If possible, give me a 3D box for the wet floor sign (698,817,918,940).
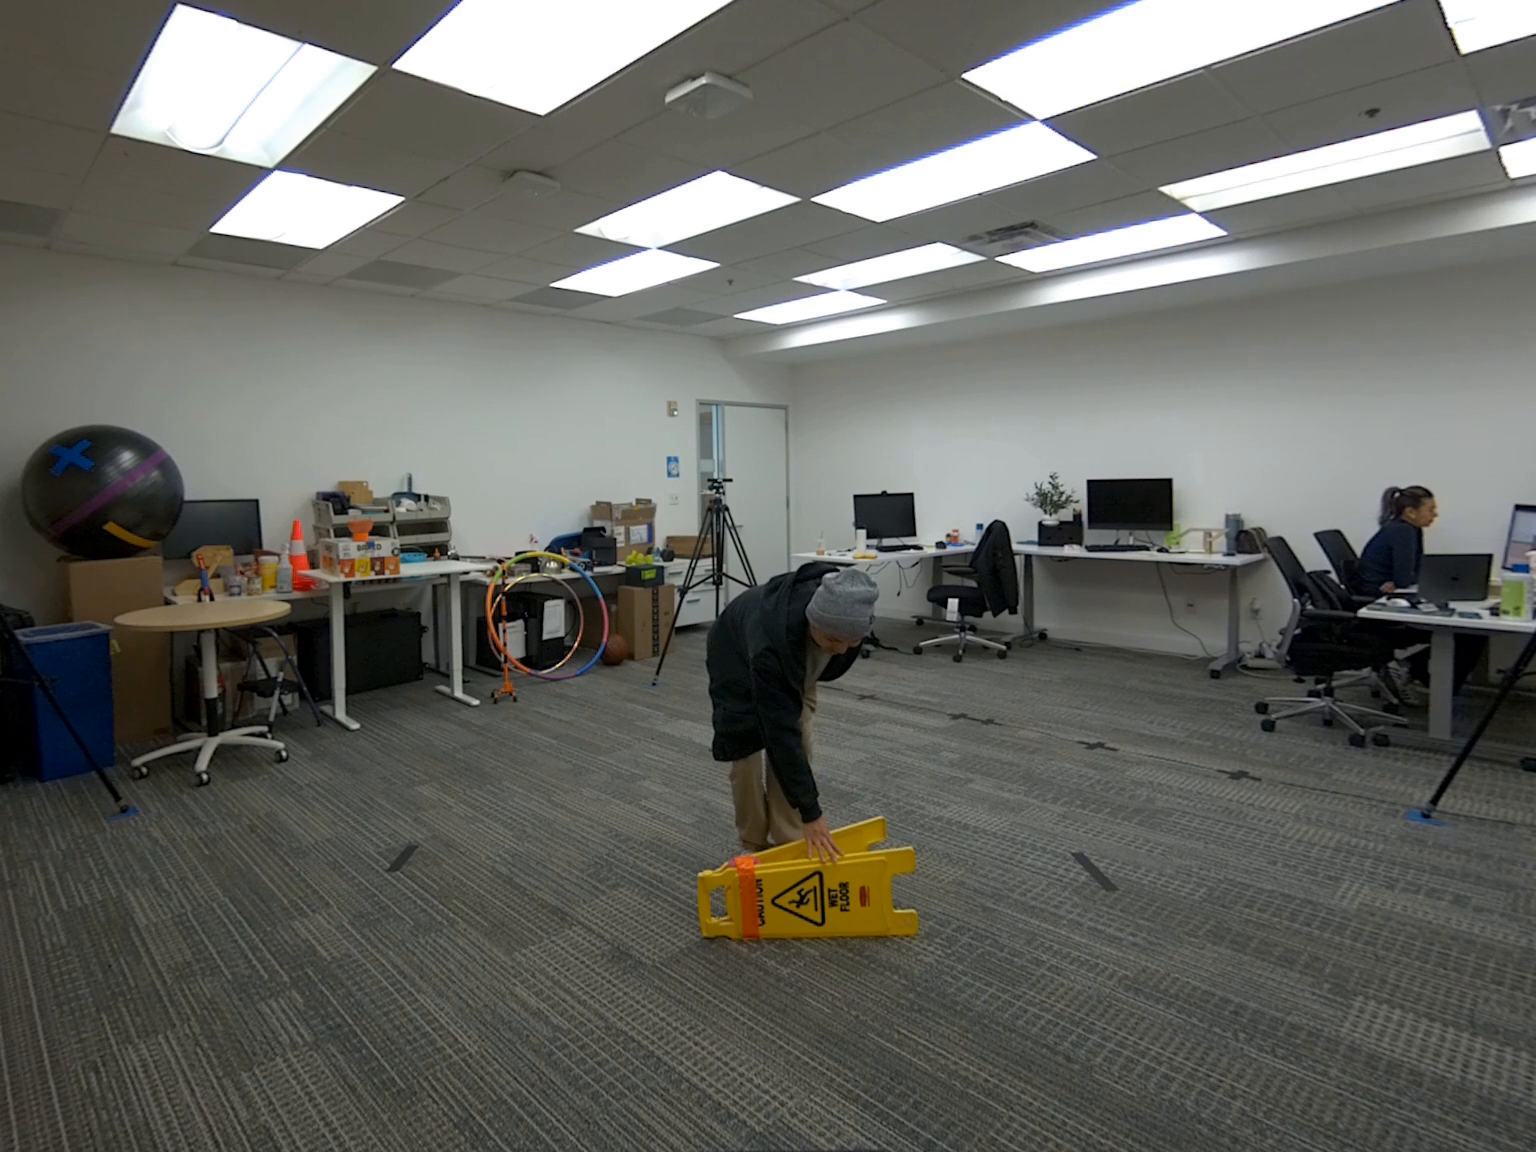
[{"bbox_3d":[0.113,0.972,2.640,0.640,0.281,0.294,-5,7,-10],"label":"wet floor sign"}]
